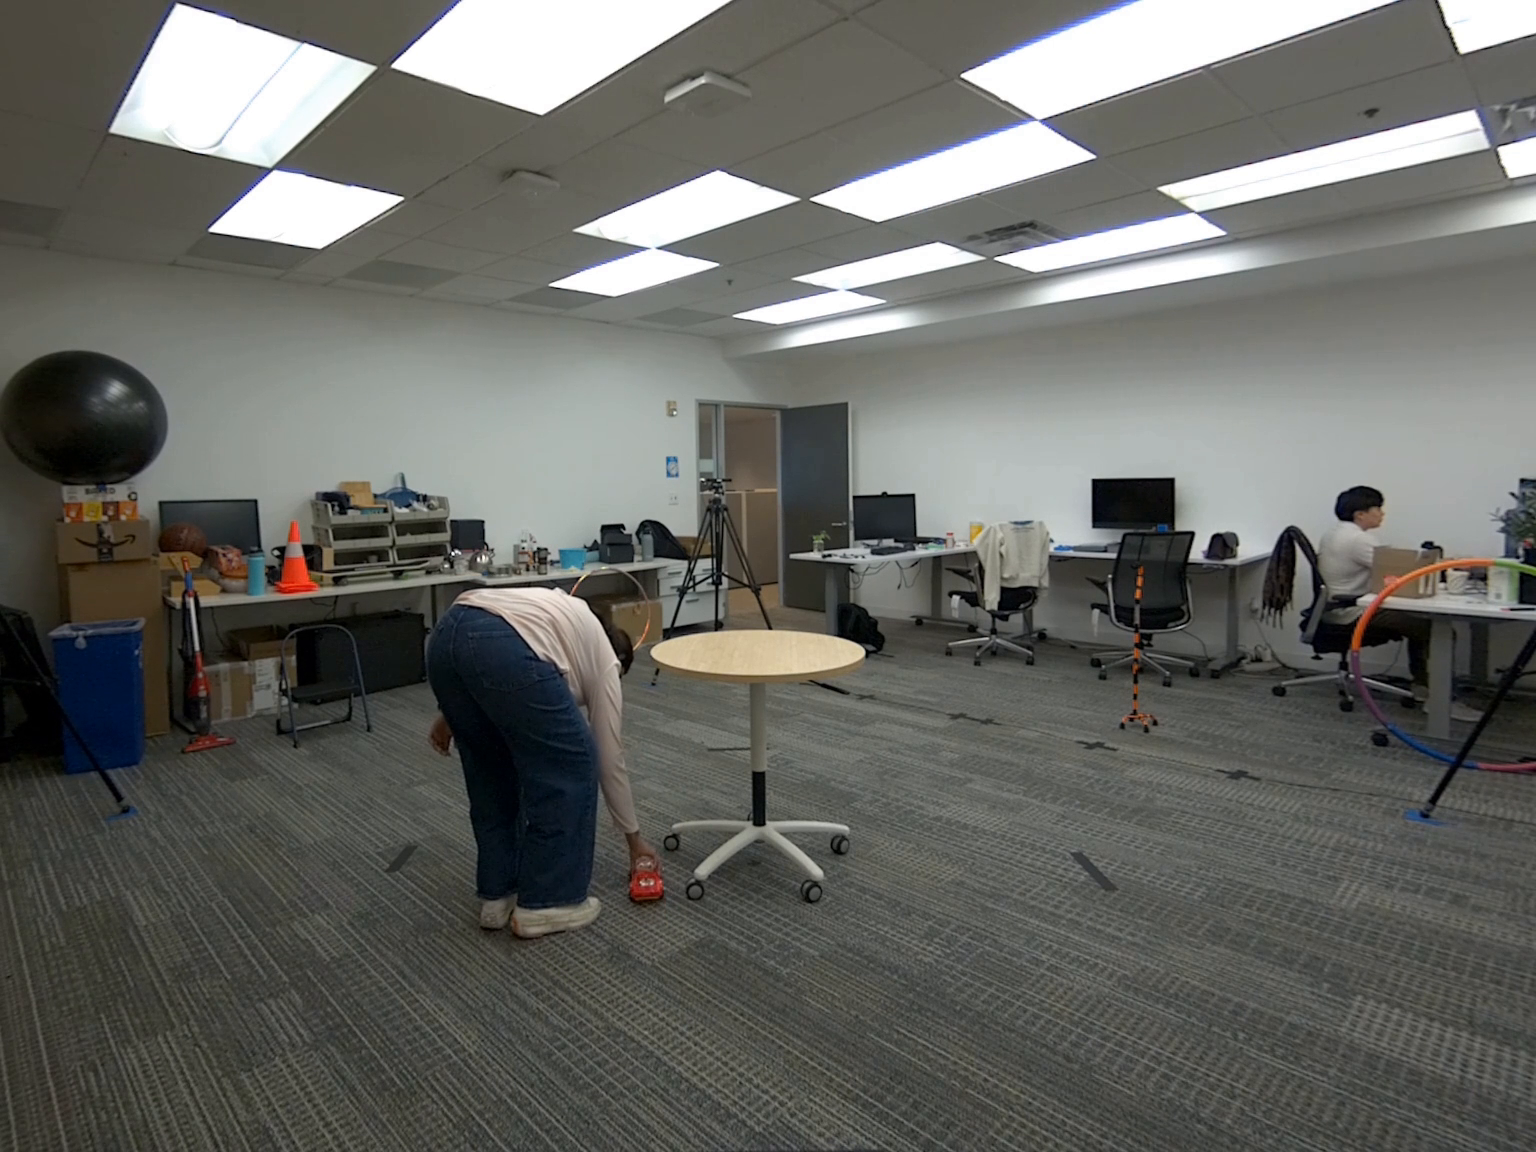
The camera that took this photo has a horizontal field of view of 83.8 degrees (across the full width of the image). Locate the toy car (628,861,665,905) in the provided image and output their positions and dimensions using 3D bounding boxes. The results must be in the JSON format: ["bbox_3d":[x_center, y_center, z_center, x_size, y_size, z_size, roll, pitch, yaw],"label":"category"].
[{"bbox_3d":[-0.413,1.043,2.911,0.129,0.083,0.255,-1,-4,-7],"label":"toy car"}]
